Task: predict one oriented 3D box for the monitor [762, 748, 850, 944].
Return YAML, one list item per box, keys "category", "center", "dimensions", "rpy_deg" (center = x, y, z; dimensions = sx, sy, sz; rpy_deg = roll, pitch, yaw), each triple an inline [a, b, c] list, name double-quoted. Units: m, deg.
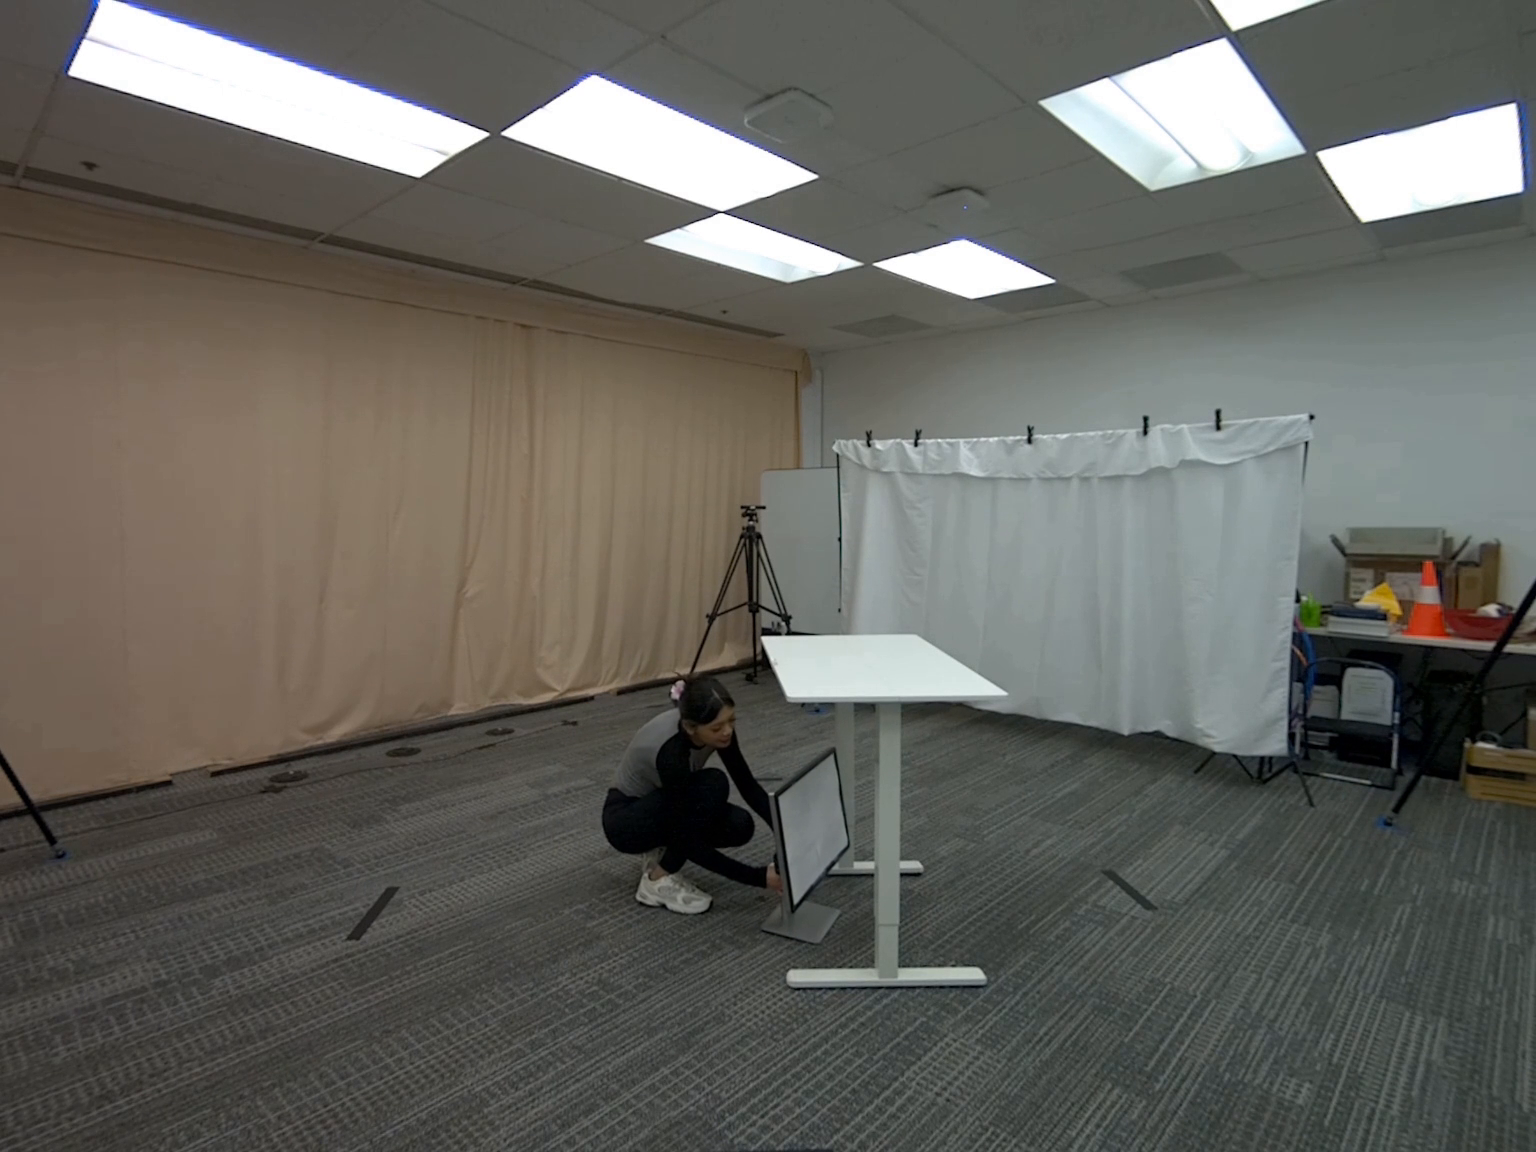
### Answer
- category: "monitor"
  center: [0.118, 0.902, 2.793]
  dimensions: [0.192, 0.521, 0.527]
  rpy_deg: [3, 5, 22]
